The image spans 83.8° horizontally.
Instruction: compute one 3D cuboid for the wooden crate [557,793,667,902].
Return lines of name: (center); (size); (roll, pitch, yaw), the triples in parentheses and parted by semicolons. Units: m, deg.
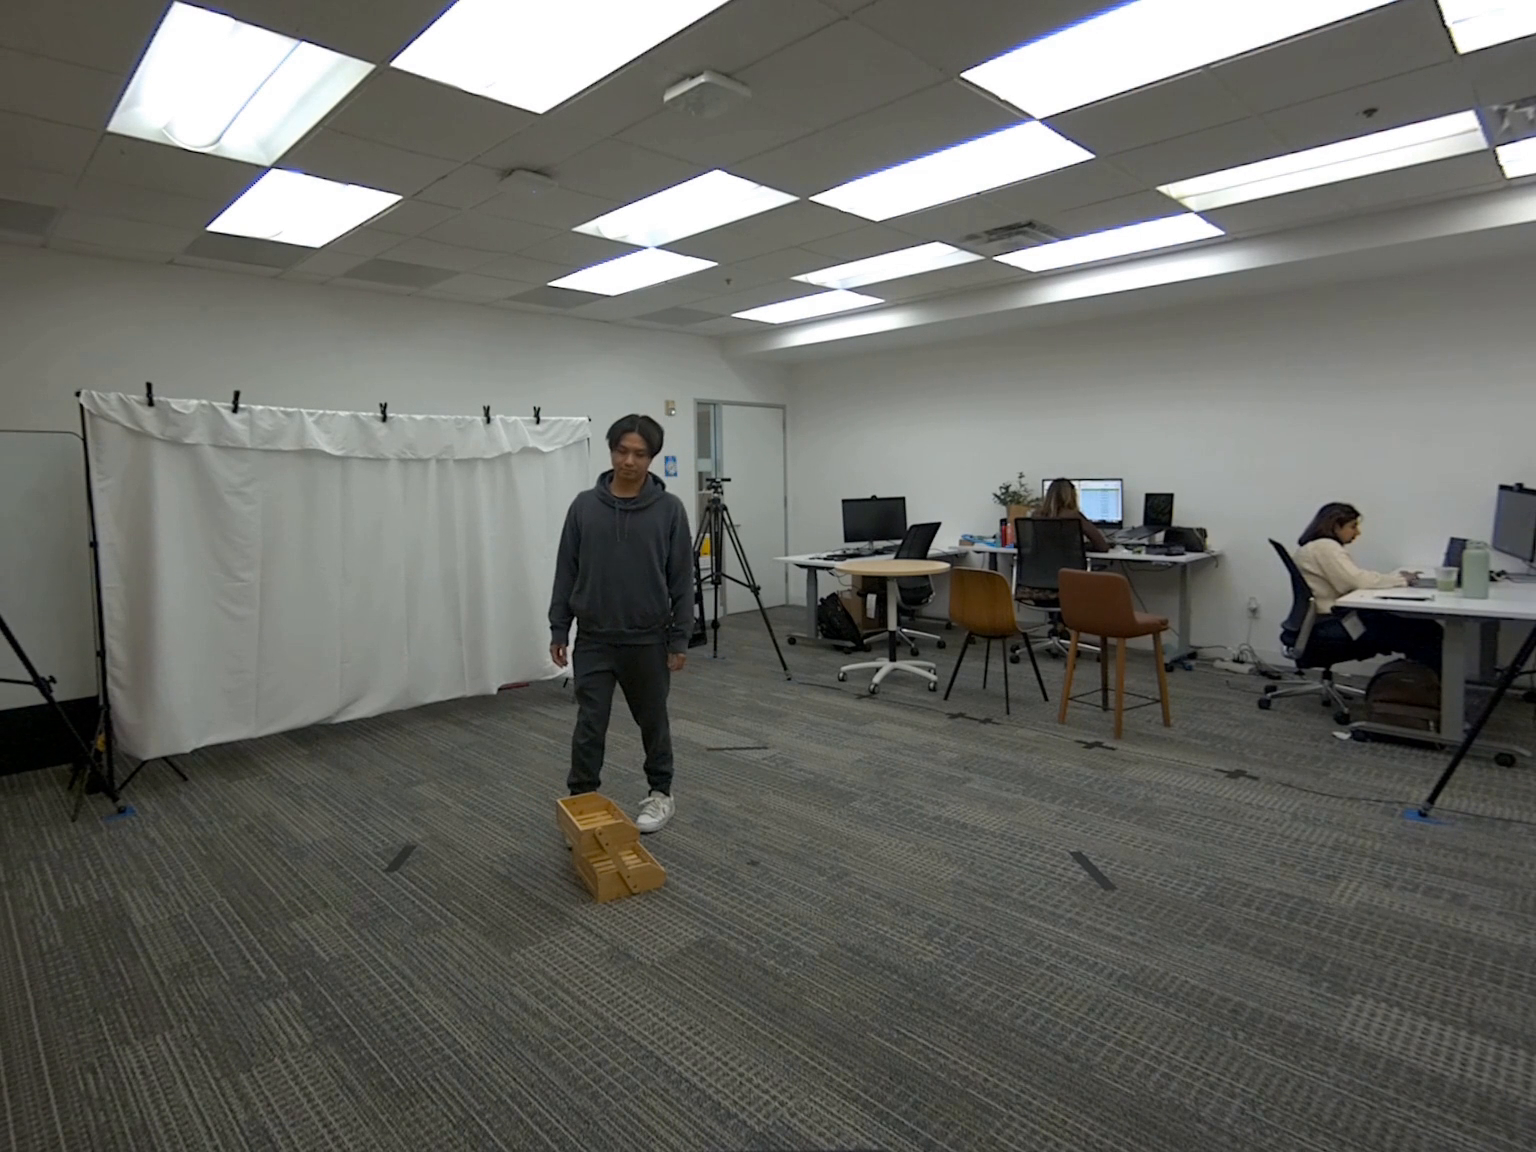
wooden crate: (-0.547, 0.926, 3.000); (0.295, 0.272, 0.333); (-5, 7, -27)
